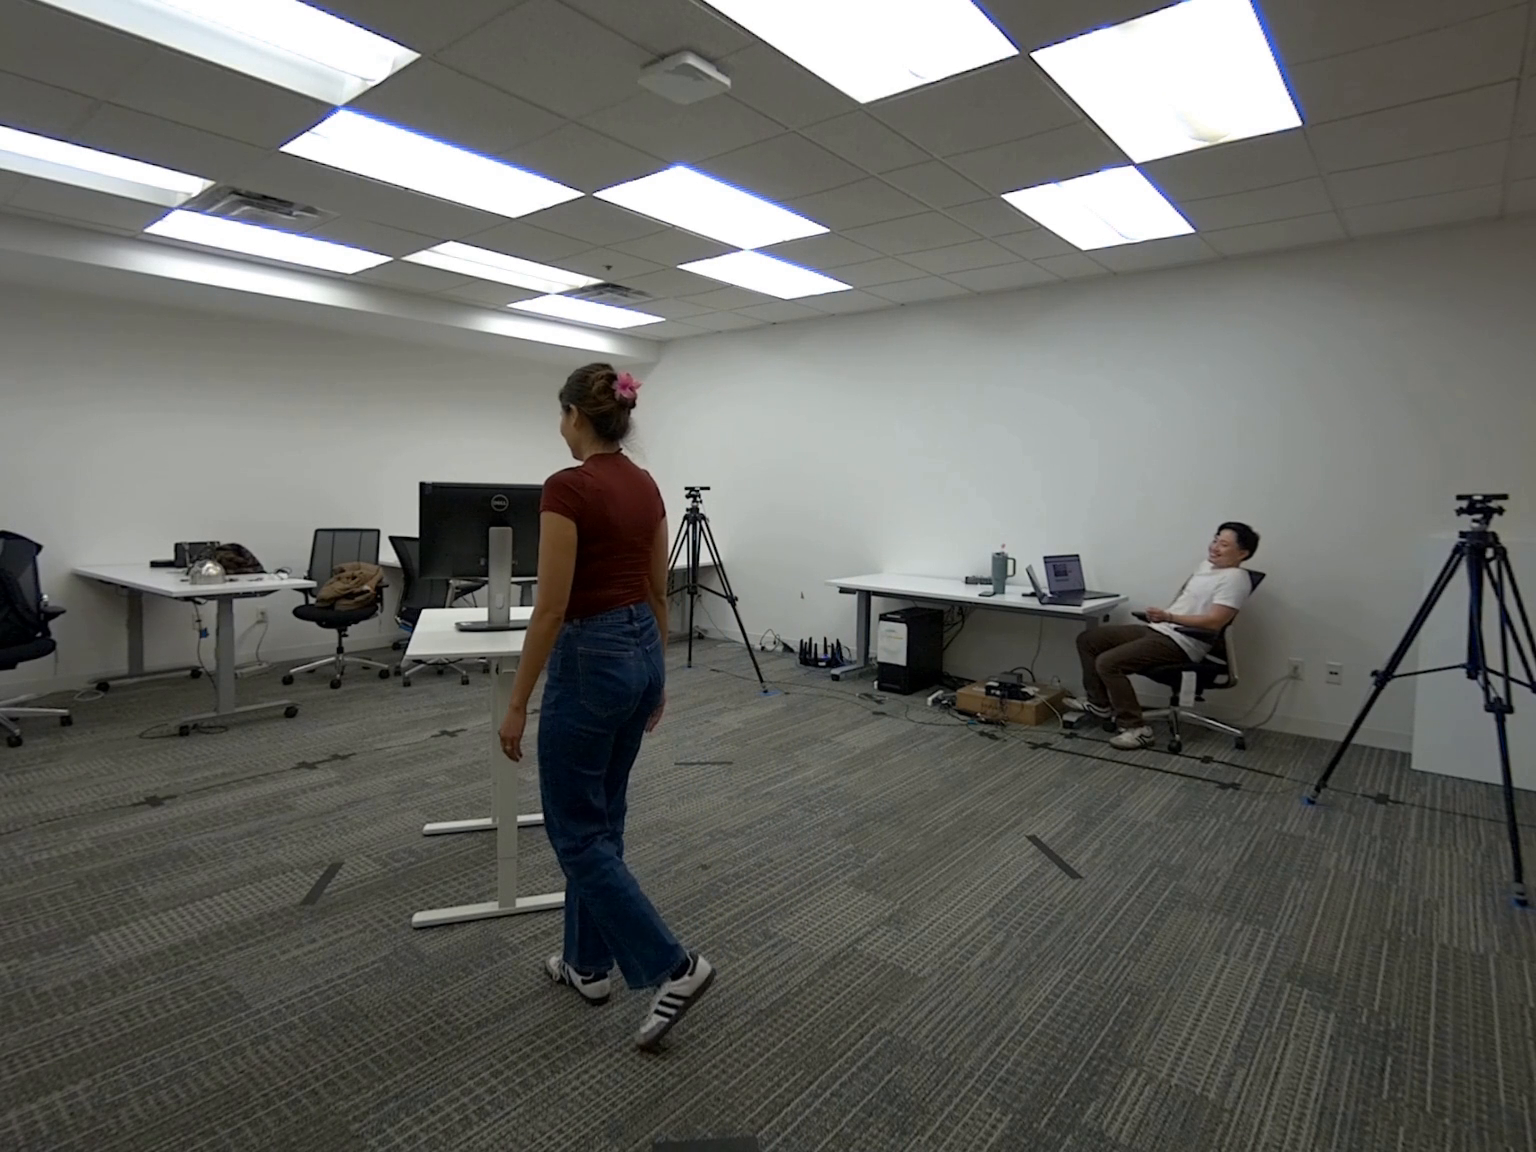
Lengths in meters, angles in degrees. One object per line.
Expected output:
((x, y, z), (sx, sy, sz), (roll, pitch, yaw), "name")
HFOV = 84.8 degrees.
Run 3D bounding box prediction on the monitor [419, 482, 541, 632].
((-0.970, -0.069, 3.006), (0.527, 0.520, 0.192), (0, 5, -23), "monitor")
